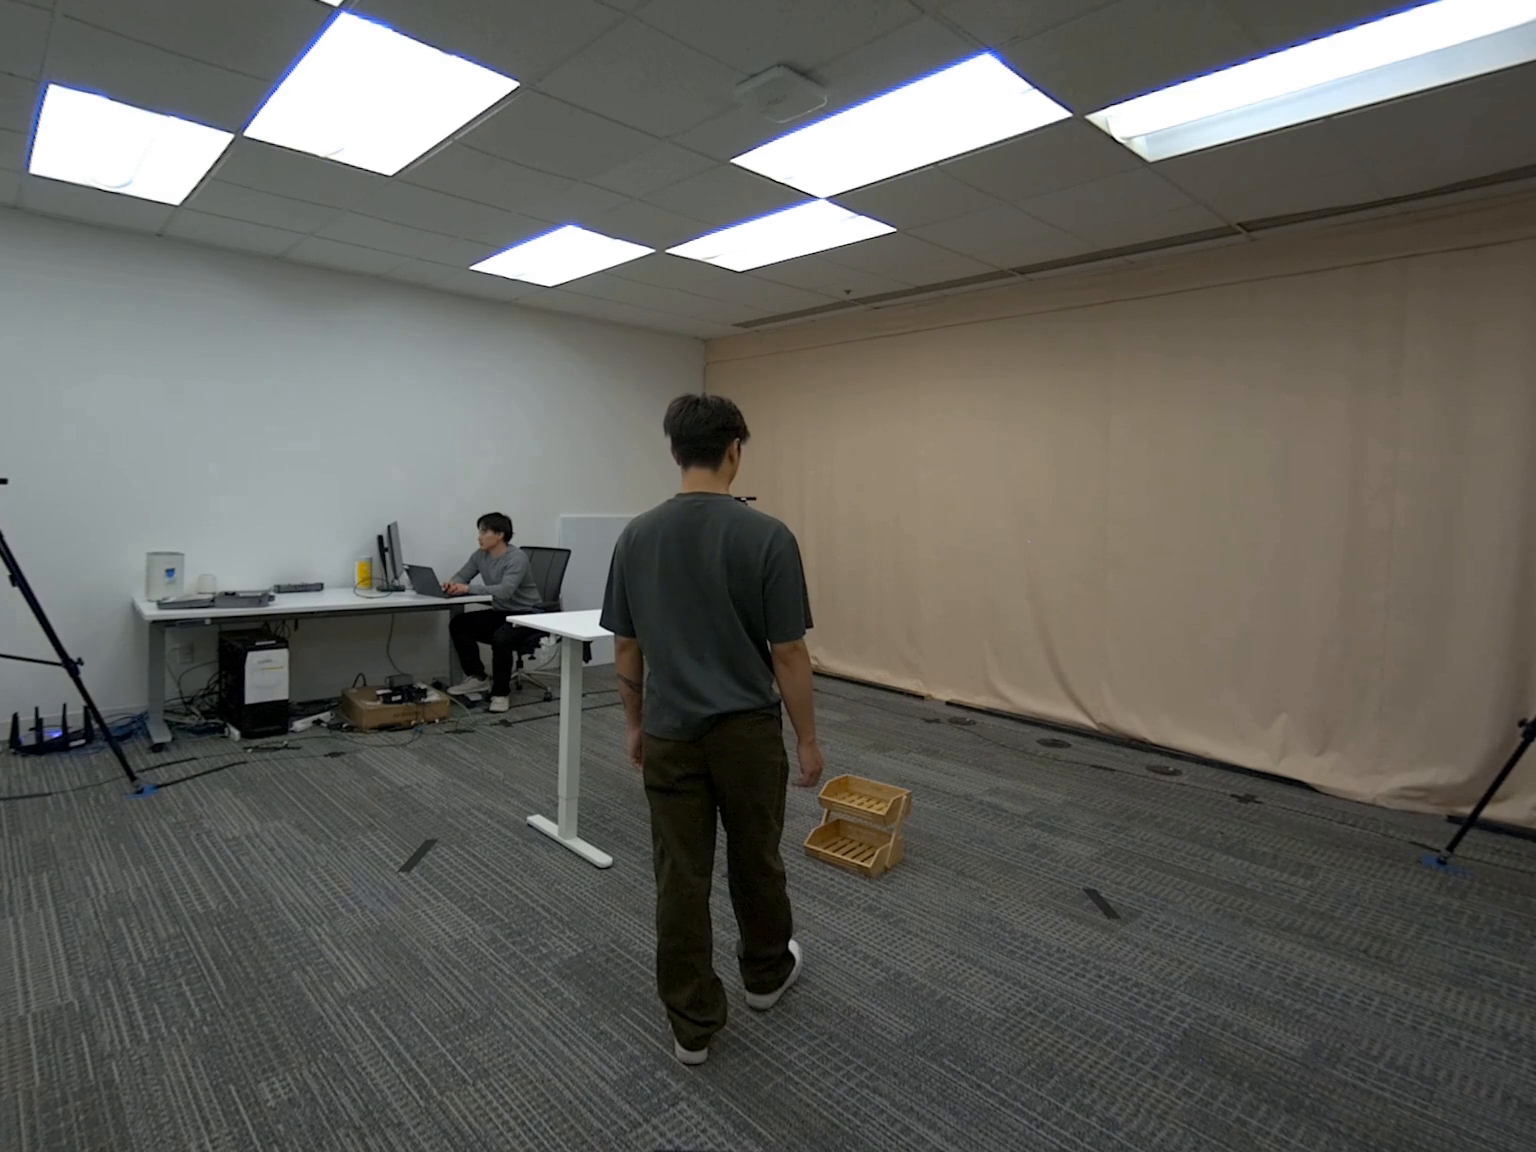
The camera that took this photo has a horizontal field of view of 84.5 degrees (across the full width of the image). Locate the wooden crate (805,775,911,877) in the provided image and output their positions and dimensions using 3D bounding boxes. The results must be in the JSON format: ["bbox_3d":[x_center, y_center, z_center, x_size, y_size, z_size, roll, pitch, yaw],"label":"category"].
[{"bbox_3d":[0.343,0.965,3.300,0.332,0.273,0.295,4,4,39],"label":"wooden crate"}]
